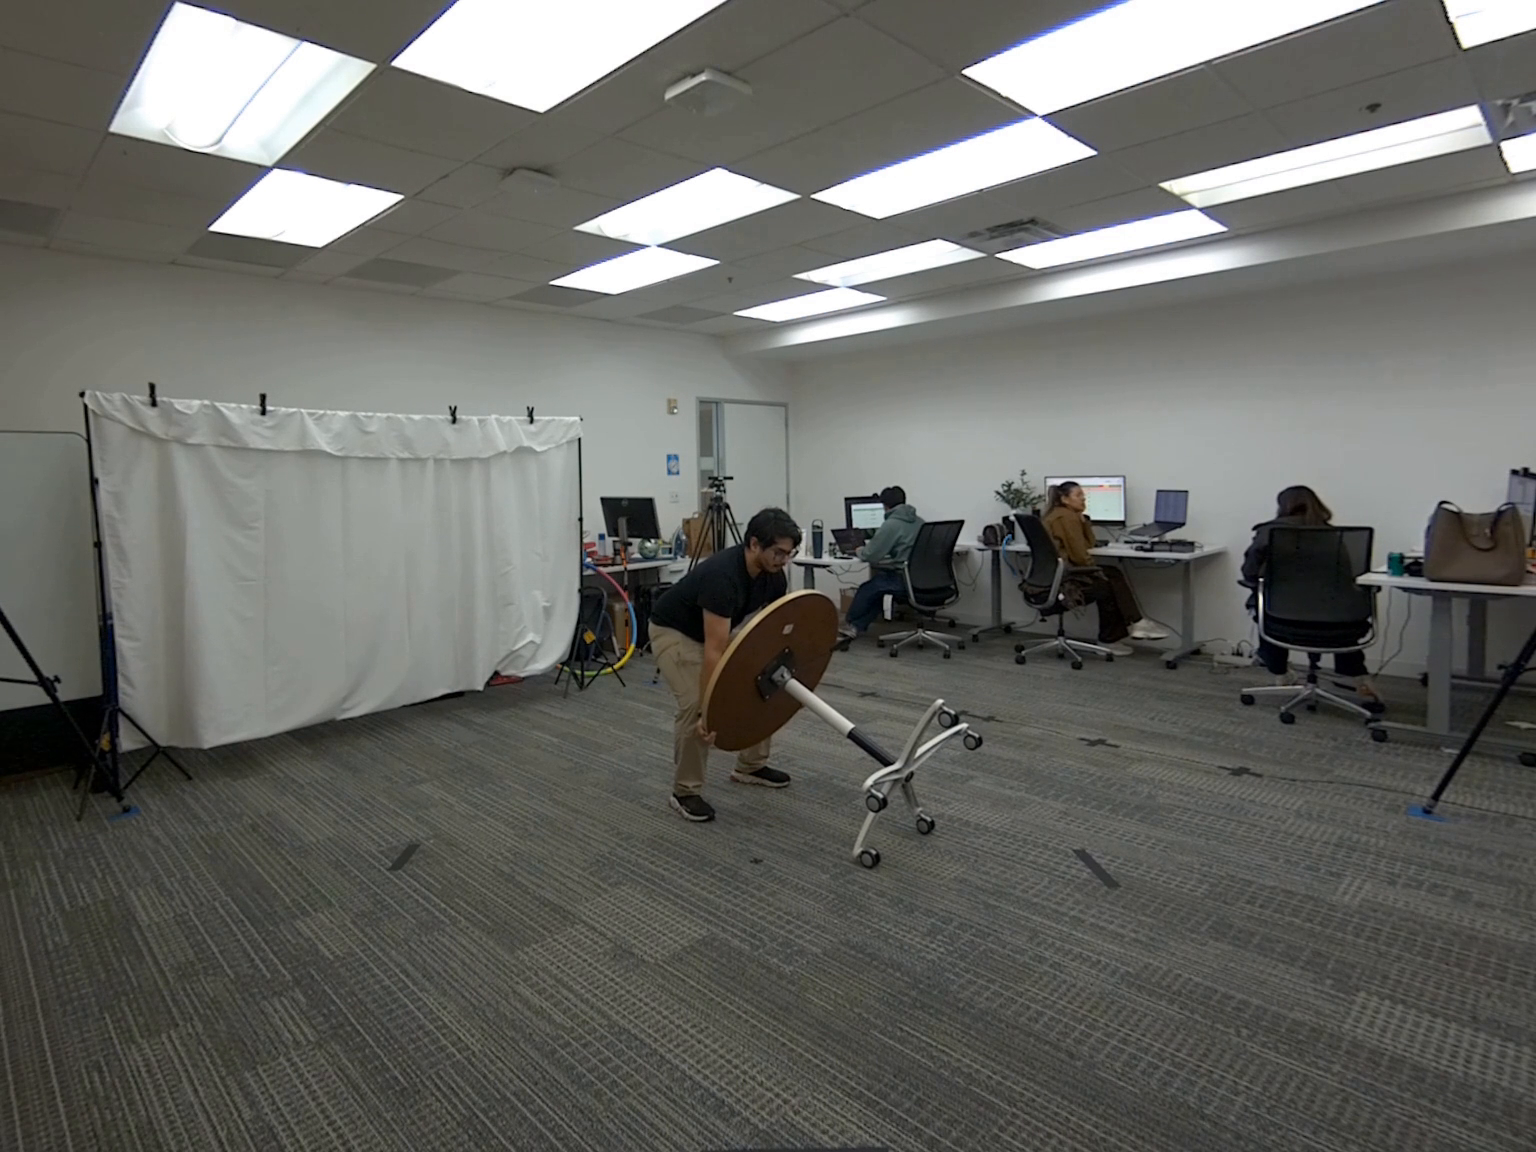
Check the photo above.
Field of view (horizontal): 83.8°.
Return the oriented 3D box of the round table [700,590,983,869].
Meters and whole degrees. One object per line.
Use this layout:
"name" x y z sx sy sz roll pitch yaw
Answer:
"round table" 0.291 0.585 3.293 0.816 0.776 0.765 35 26 35
